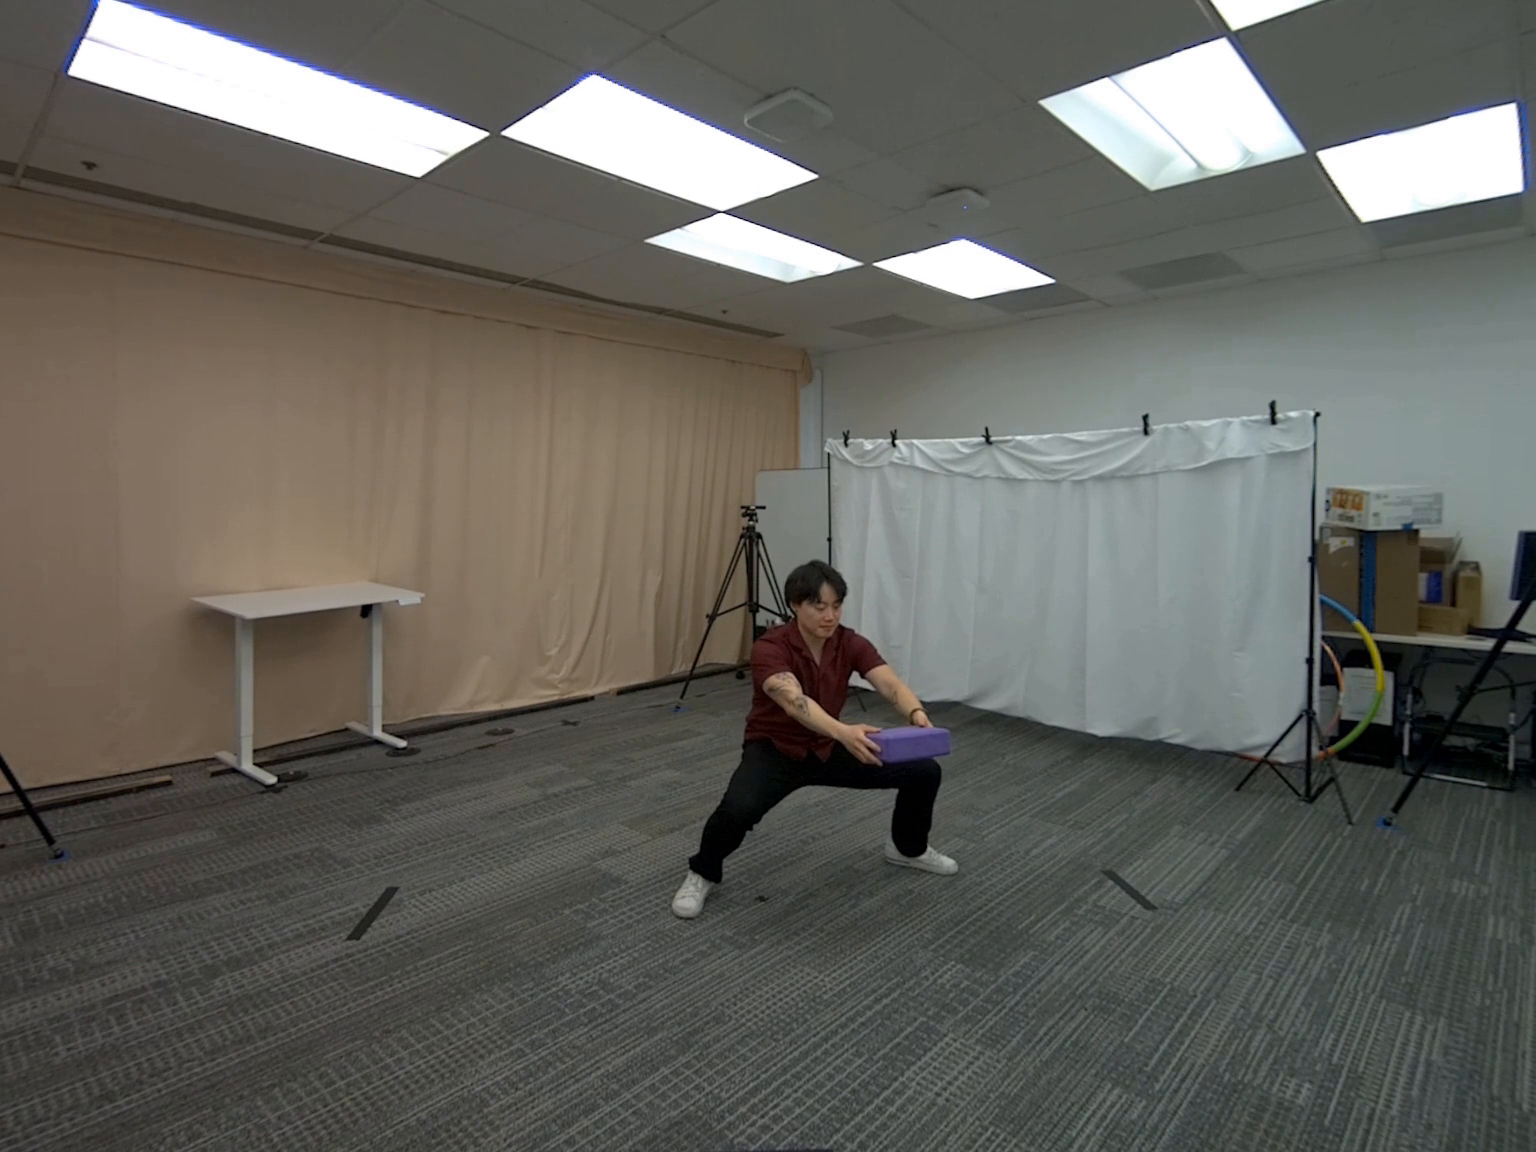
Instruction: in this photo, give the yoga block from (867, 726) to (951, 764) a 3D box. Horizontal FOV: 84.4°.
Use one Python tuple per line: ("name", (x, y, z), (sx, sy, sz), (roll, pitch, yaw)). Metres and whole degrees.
("yoga block", (0.415, 0.489, 2.538), (0.224, 0.076, 0.152), (-2, -2, -25))
